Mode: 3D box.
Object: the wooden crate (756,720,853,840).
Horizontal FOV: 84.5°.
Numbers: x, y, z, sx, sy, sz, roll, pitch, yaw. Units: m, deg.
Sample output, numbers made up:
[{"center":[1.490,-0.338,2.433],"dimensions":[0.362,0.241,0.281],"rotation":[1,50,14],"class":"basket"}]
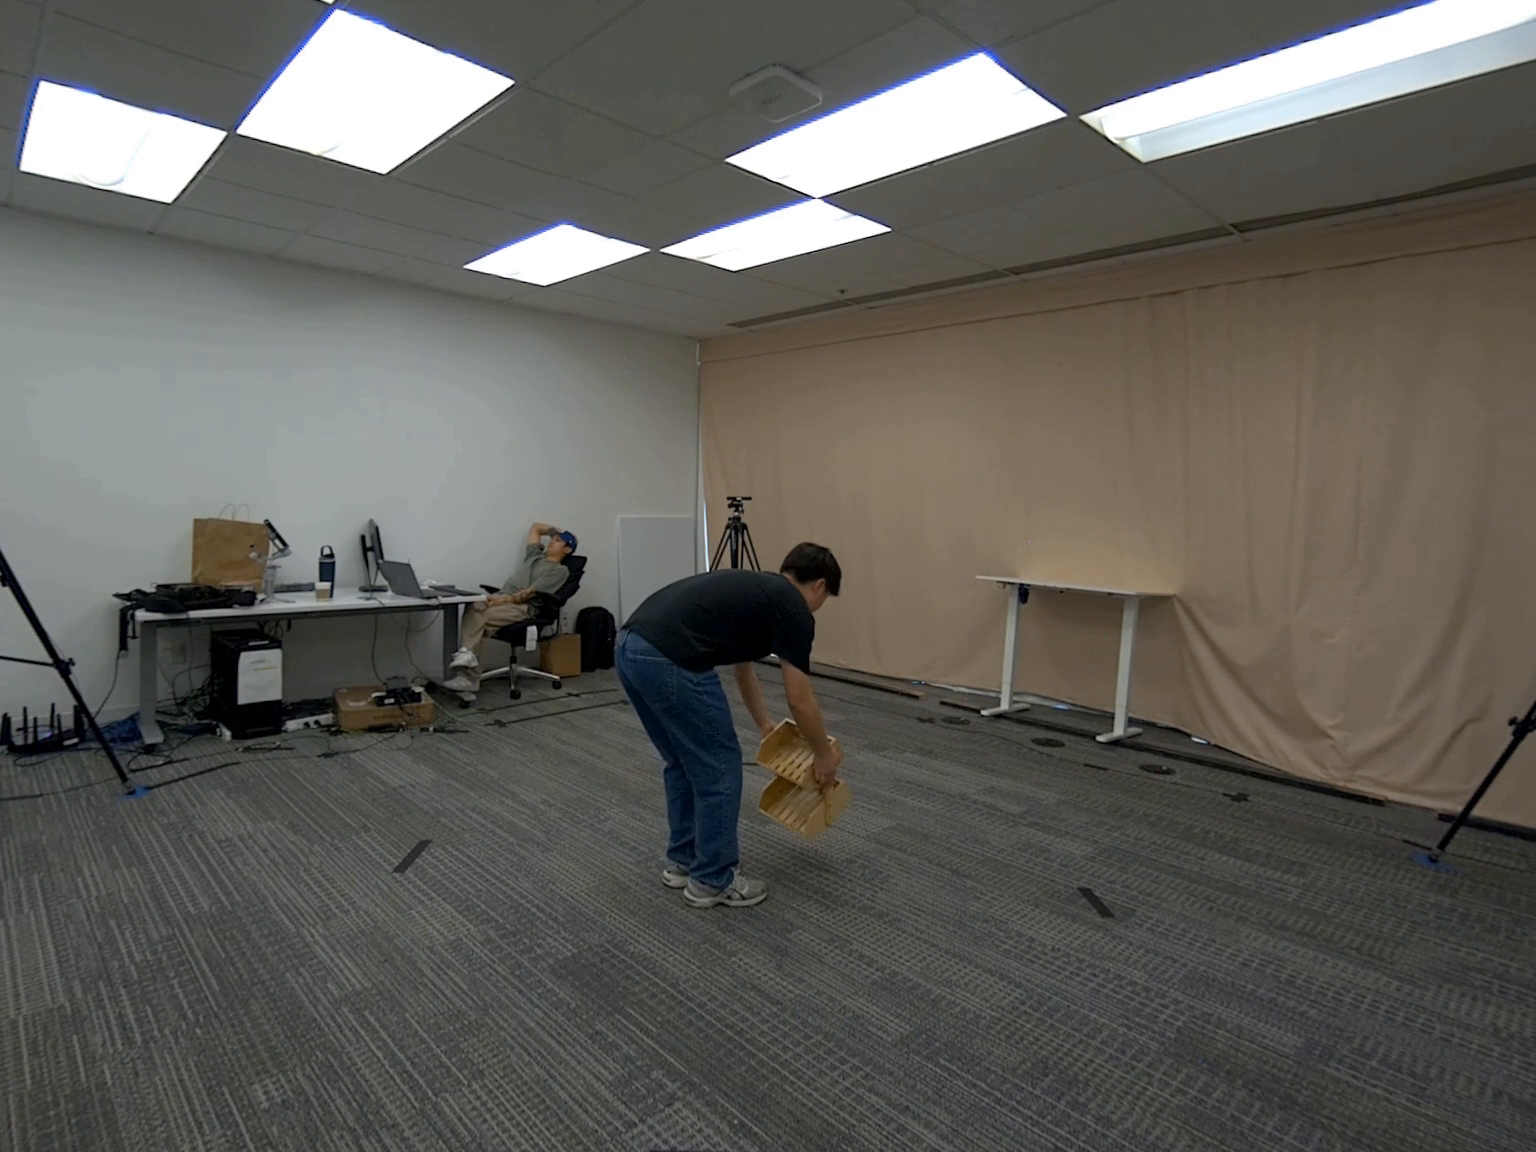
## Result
[{"center":[0.103,0.762,3.186],"dimensions":[0.301,0.268,0.332],"rotation":[-38,25,-25],"class":"wooden crate"}]
